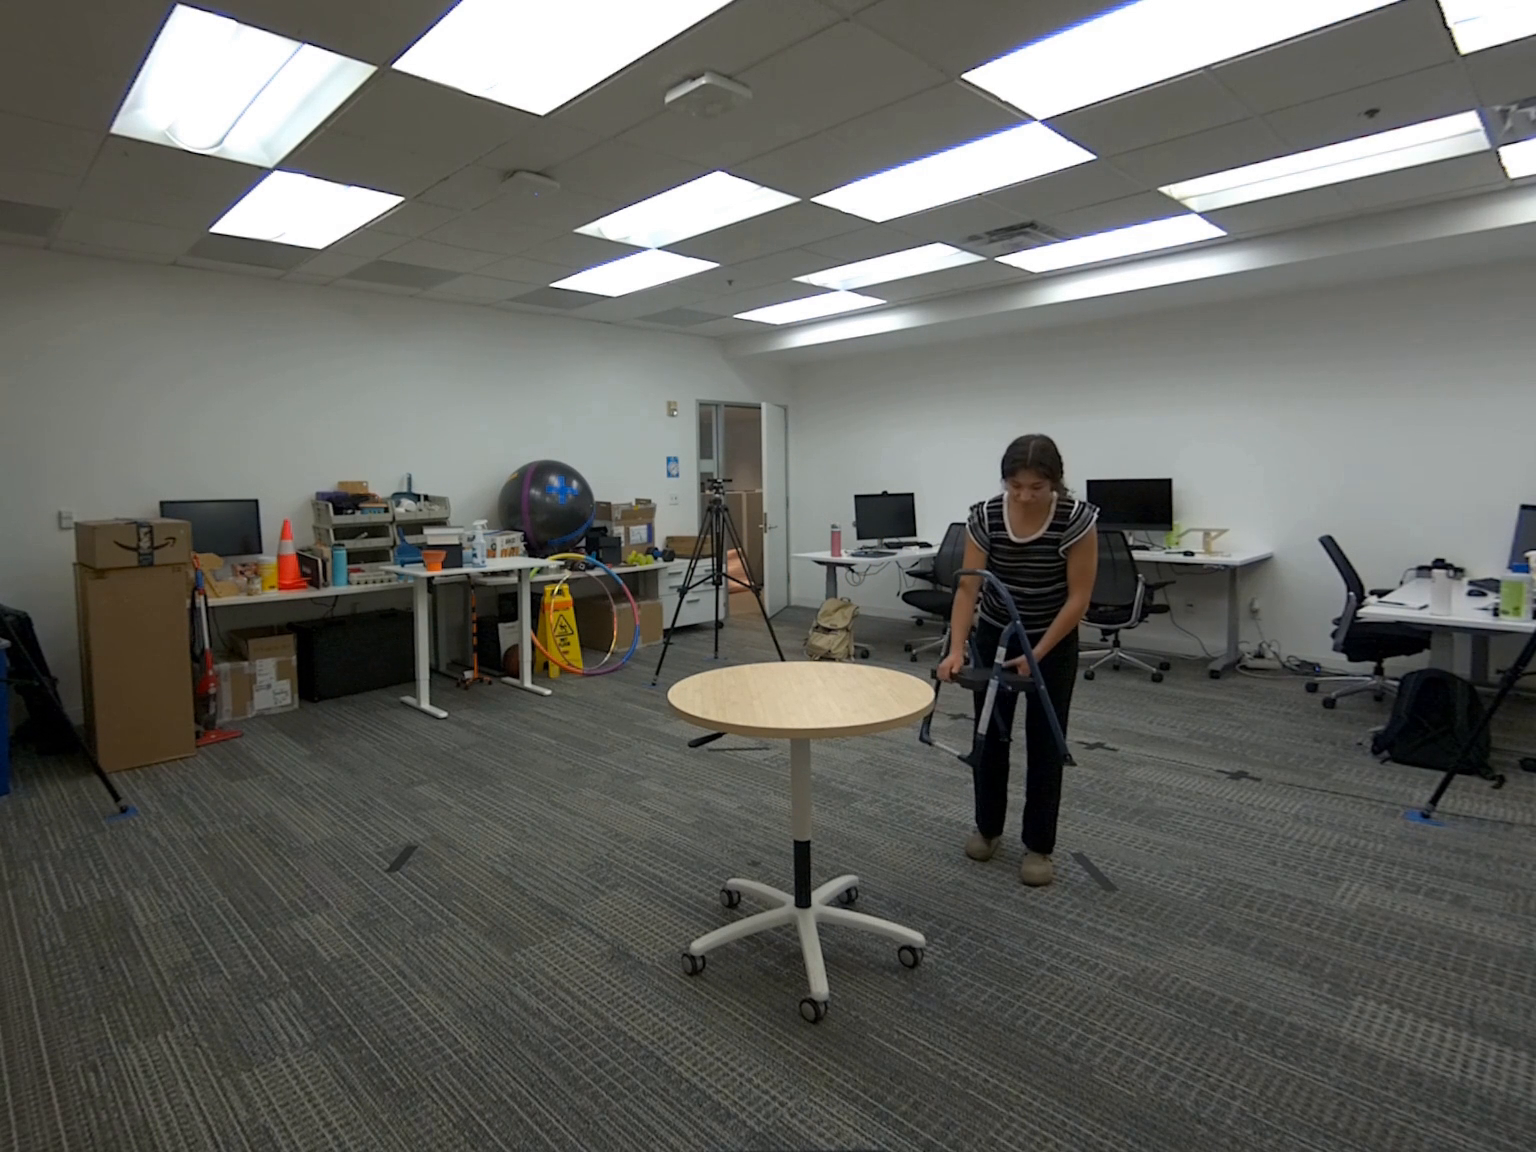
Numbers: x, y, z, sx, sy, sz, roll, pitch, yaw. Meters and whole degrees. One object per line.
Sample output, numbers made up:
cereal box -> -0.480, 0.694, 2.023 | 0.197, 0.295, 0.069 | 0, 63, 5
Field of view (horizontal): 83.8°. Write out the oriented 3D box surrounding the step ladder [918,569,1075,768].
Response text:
step ladder -> 0.746, 0.290, 2.832 | 0.346, 0.608, 0.434 | 2, -3, -11
